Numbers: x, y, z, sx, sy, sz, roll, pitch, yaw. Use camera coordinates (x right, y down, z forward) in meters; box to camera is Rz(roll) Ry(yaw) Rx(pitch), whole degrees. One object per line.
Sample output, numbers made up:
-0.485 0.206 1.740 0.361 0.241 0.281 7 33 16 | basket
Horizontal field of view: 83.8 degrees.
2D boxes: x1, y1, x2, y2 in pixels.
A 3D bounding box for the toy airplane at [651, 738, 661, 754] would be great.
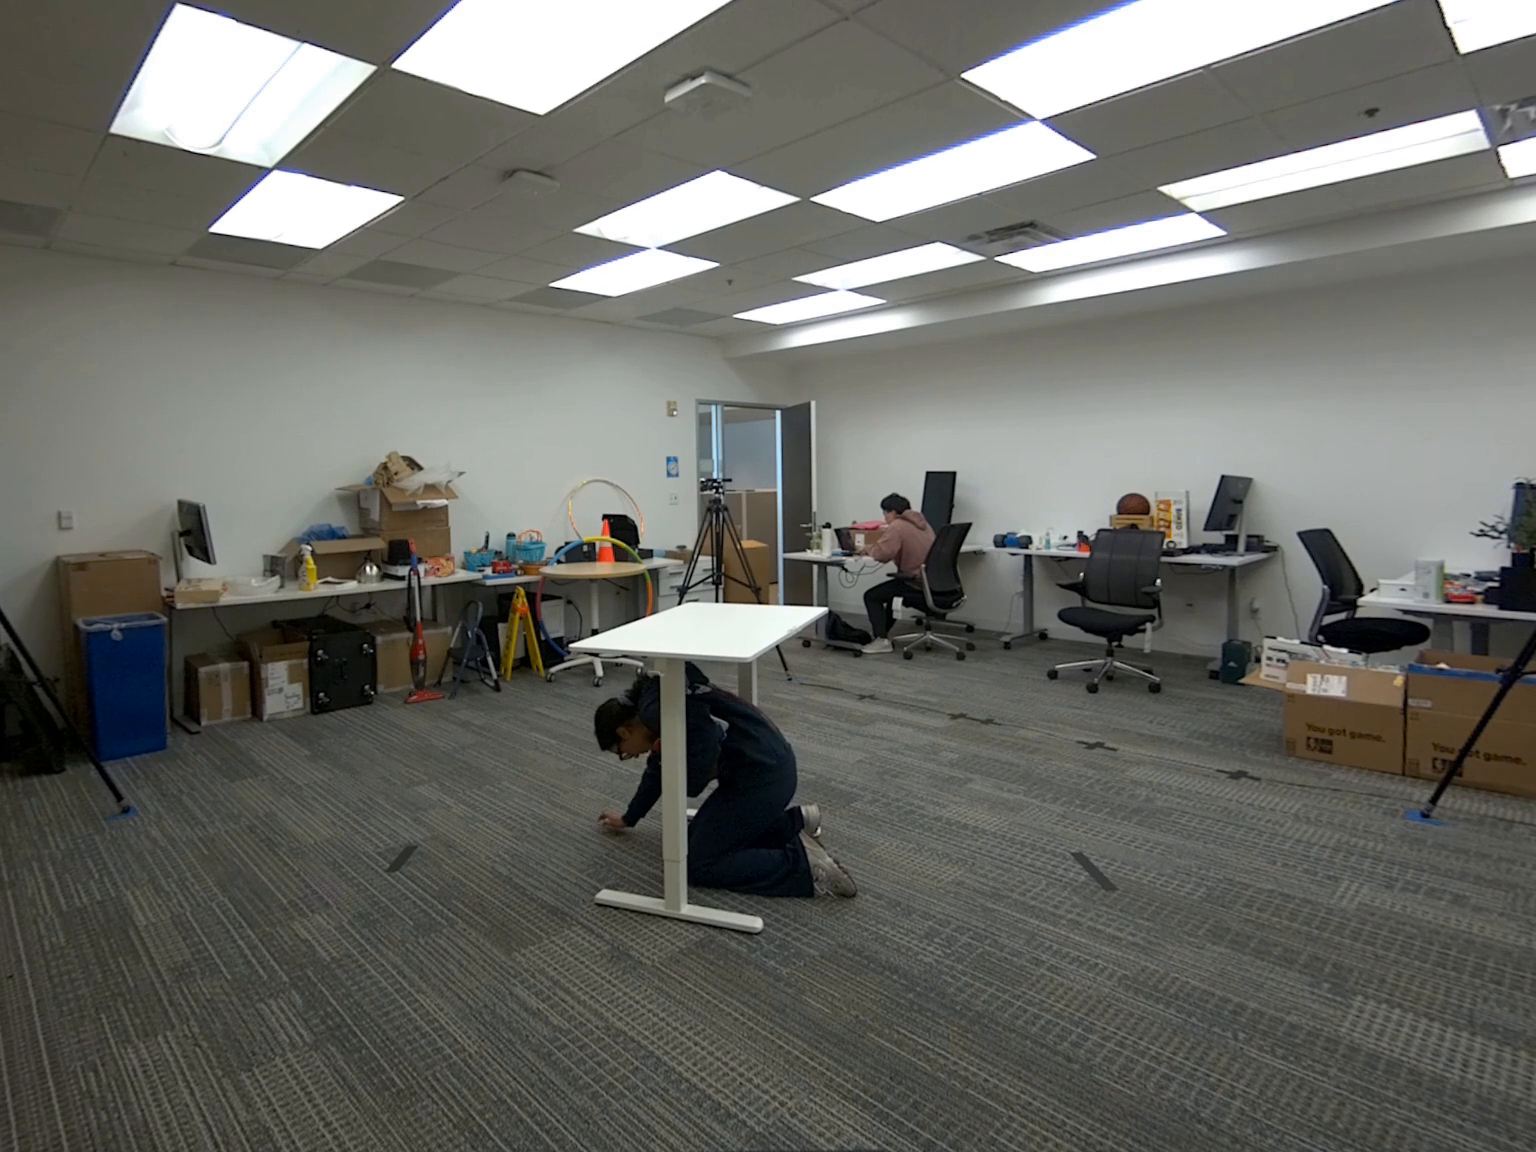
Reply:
-0.266 0.585 2.907 0.245 0.256 0.162 4 42 -26 | toy airplane
